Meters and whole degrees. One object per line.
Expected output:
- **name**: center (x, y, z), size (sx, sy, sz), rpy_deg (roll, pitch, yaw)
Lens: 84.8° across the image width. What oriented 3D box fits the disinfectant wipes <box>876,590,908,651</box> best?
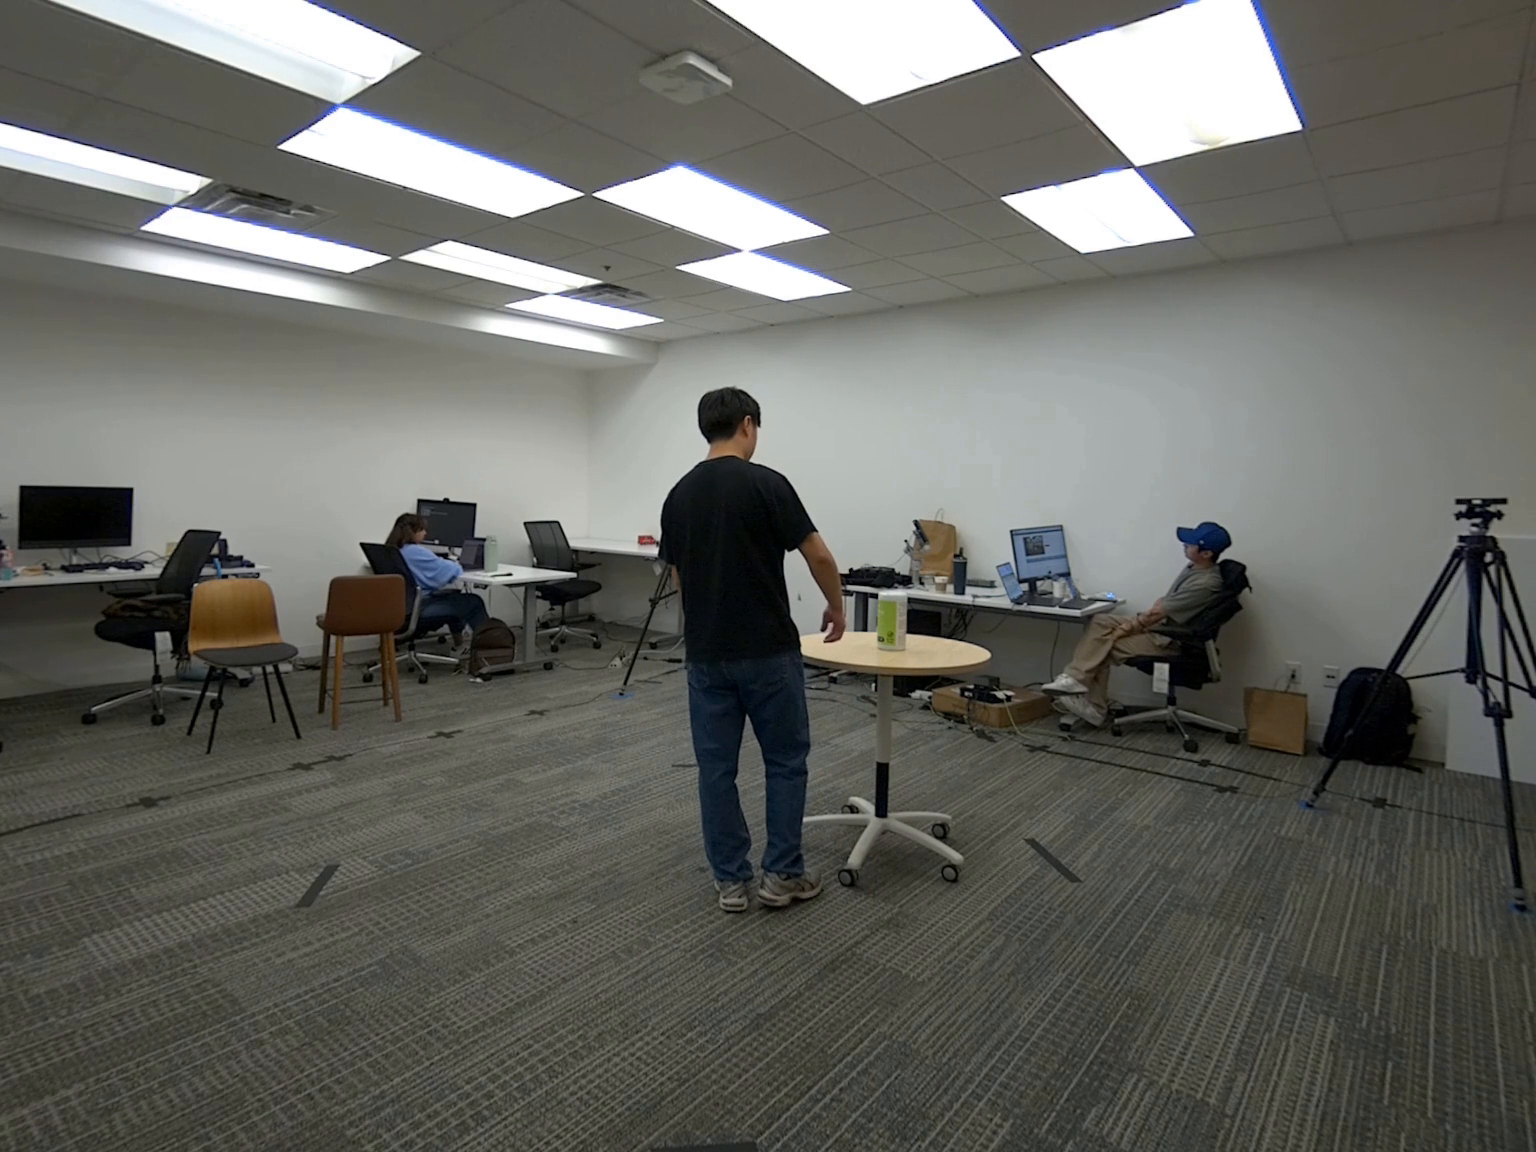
- **disinfectant wipes**: center (0.472, 0.166, 3.248), size (0.118, 0.217, 0.118), rpy_deg (0, 4, -2)
